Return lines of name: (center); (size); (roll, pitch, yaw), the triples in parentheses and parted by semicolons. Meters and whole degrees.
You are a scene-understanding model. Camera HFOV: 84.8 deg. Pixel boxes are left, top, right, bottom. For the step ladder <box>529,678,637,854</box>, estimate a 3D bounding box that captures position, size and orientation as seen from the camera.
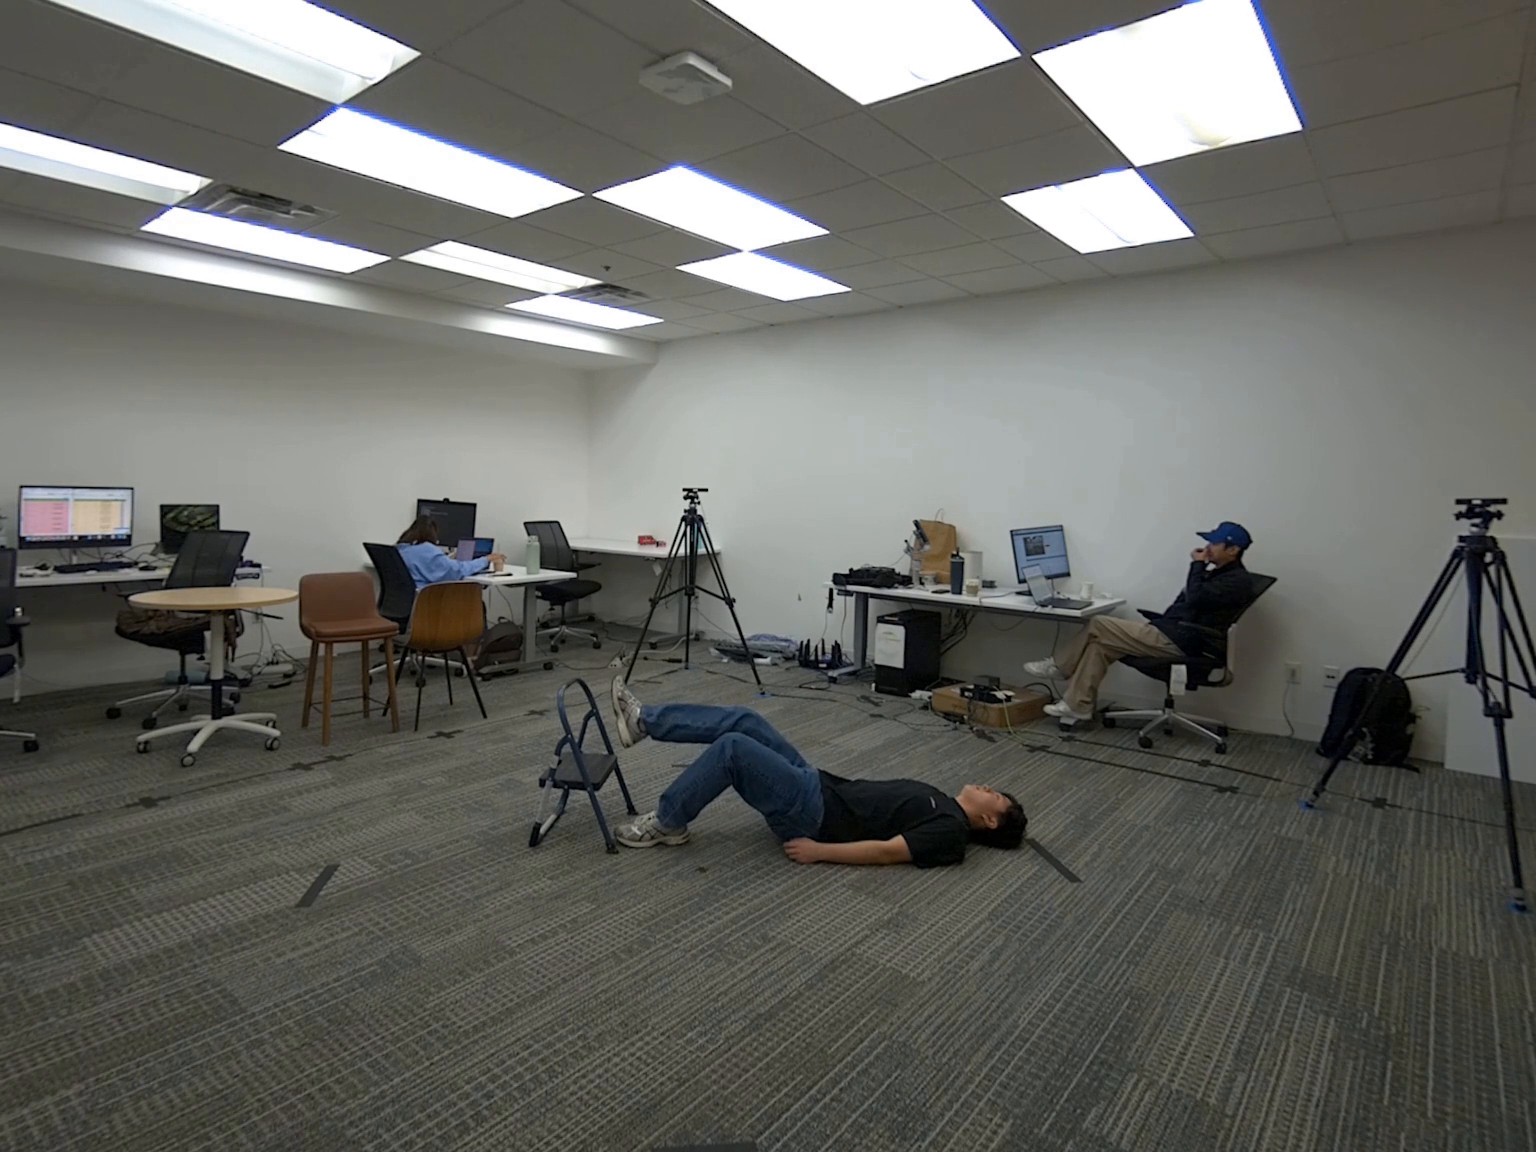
step ladder: (-0.743, 0.726, 3.439); (0.350, 0.604, 0.430); (2, 3, 2)
